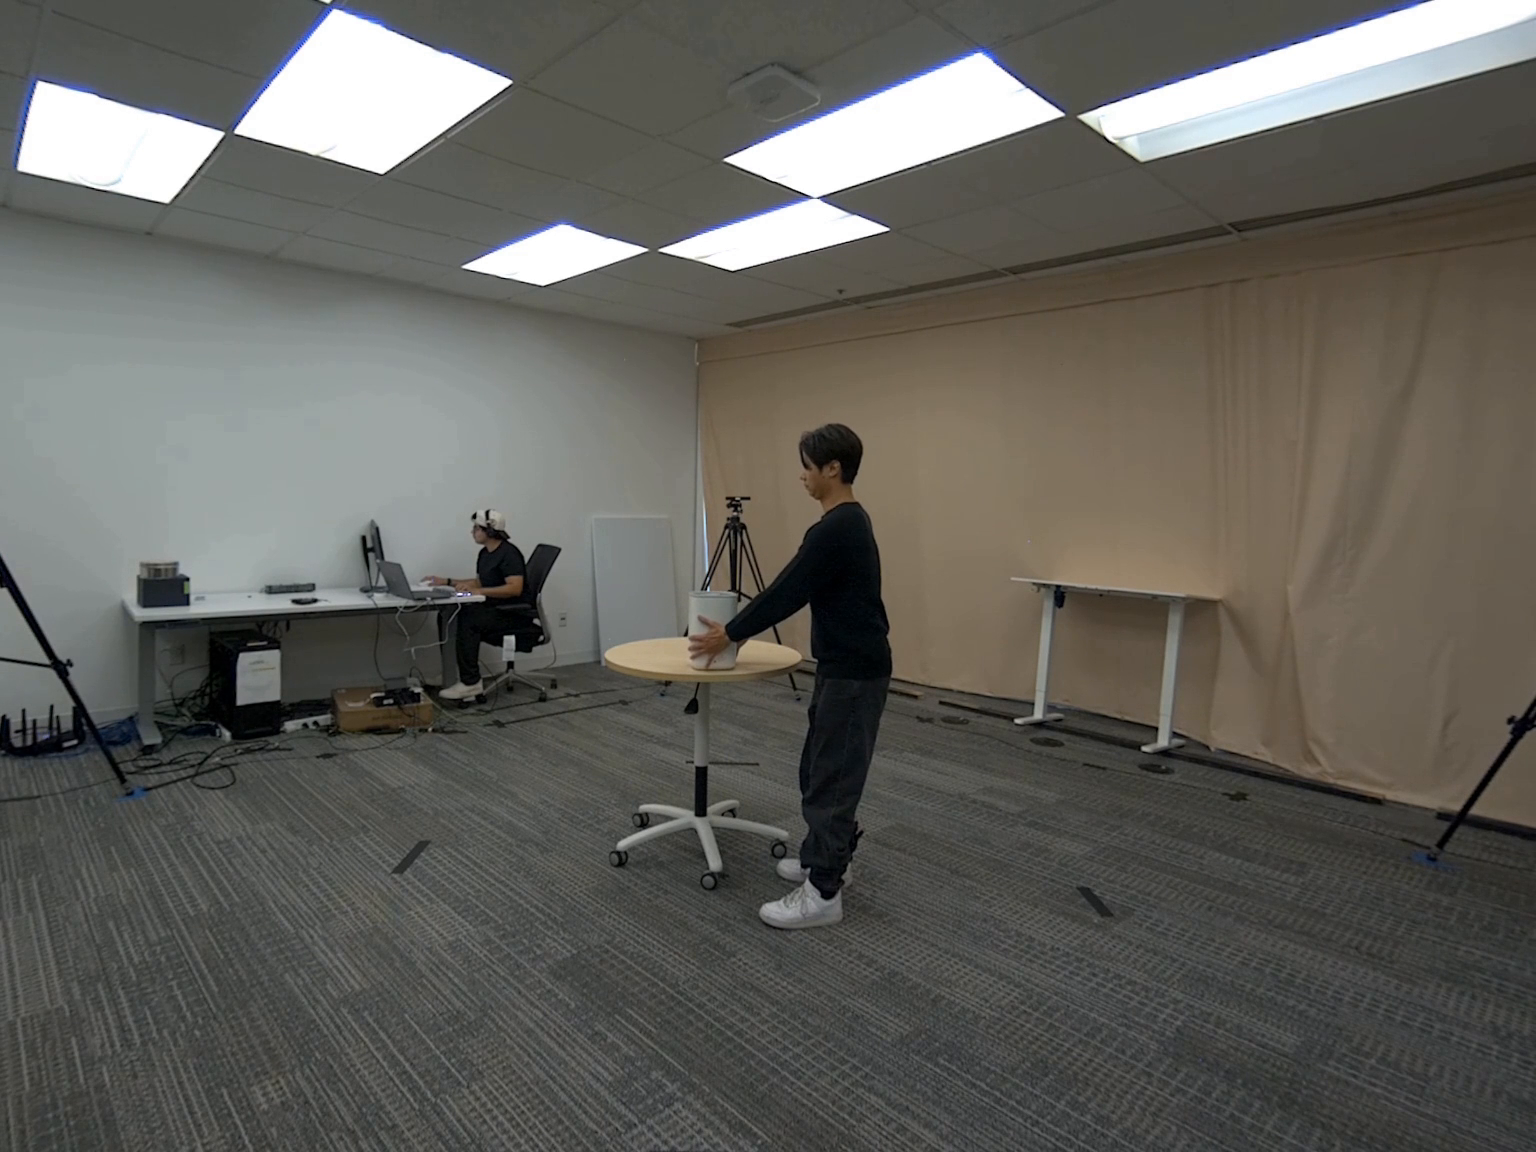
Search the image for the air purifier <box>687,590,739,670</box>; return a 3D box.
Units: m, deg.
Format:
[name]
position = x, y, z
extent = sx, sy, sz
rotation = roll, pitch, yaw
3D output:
[air purifier]
position = -0.202, 0.193, 3.037
extent = 0.170, 0.264, 0.172
rotation = 1, 4, -4
